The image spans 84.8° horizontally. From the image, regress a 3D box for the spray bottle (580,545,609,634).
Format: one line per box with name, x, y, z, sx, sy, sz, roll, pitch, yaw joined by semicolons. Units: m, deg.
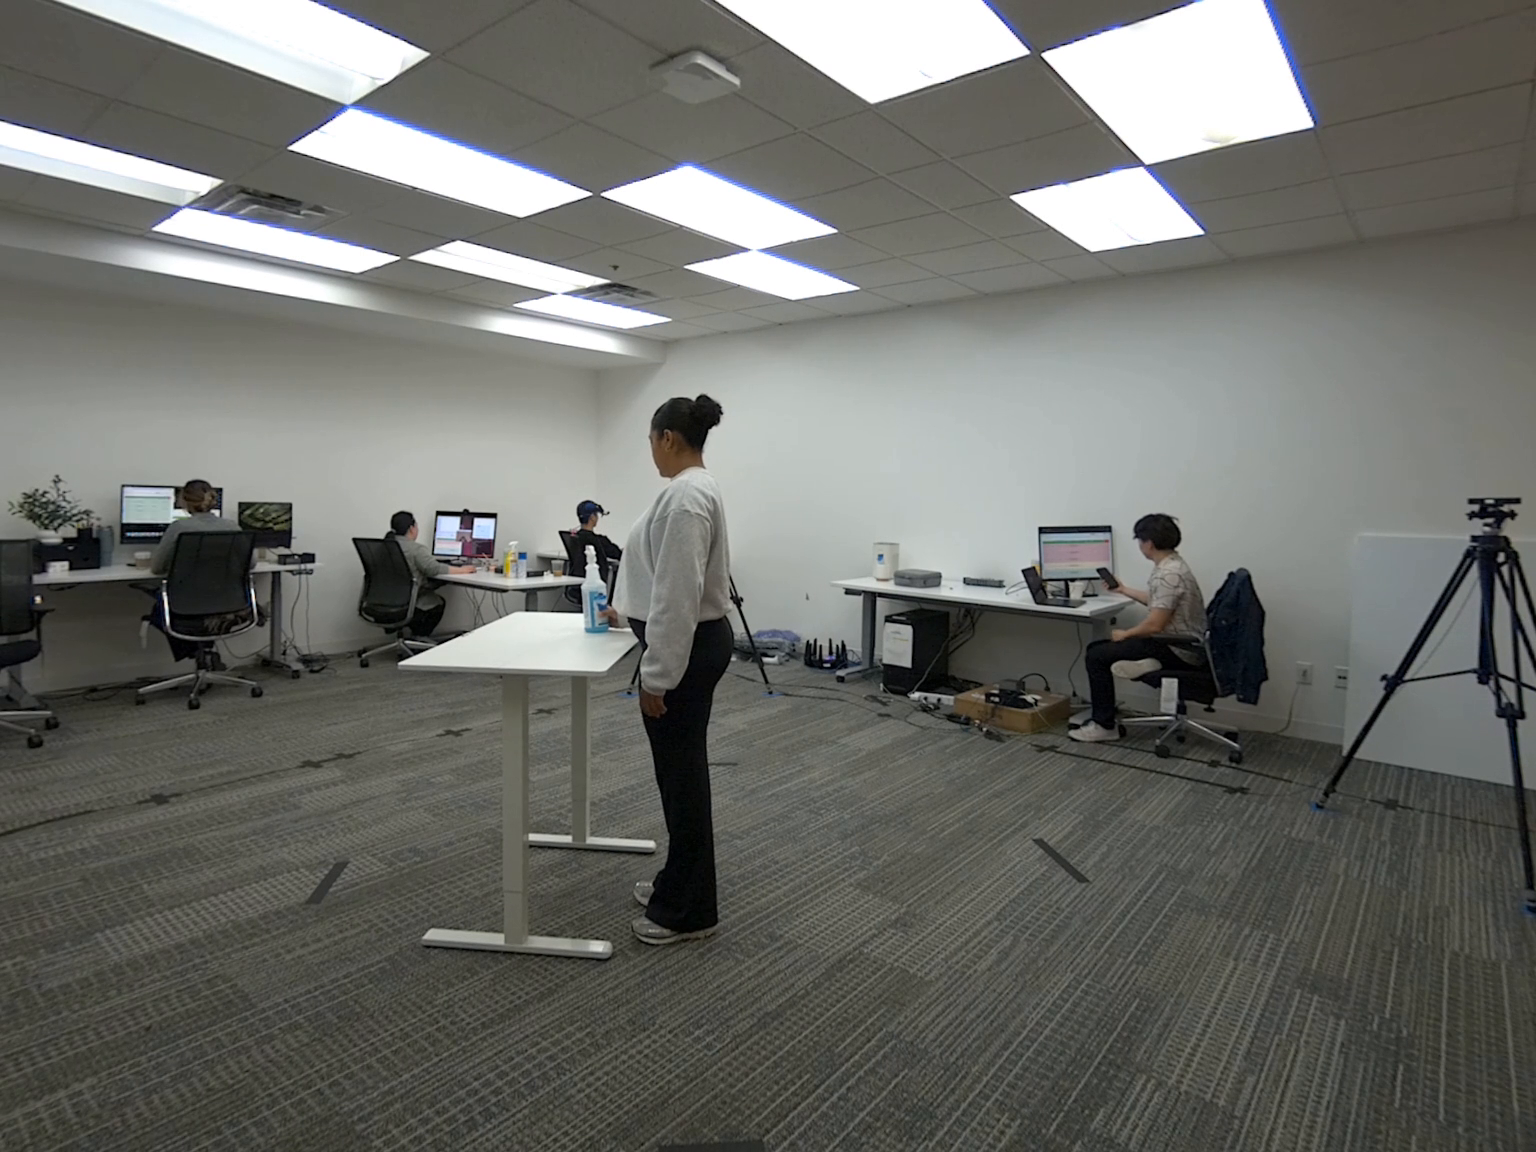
spray bottle;-0.616;0.039;2.964;0.087;0.298;0.089;-2;-1;5
